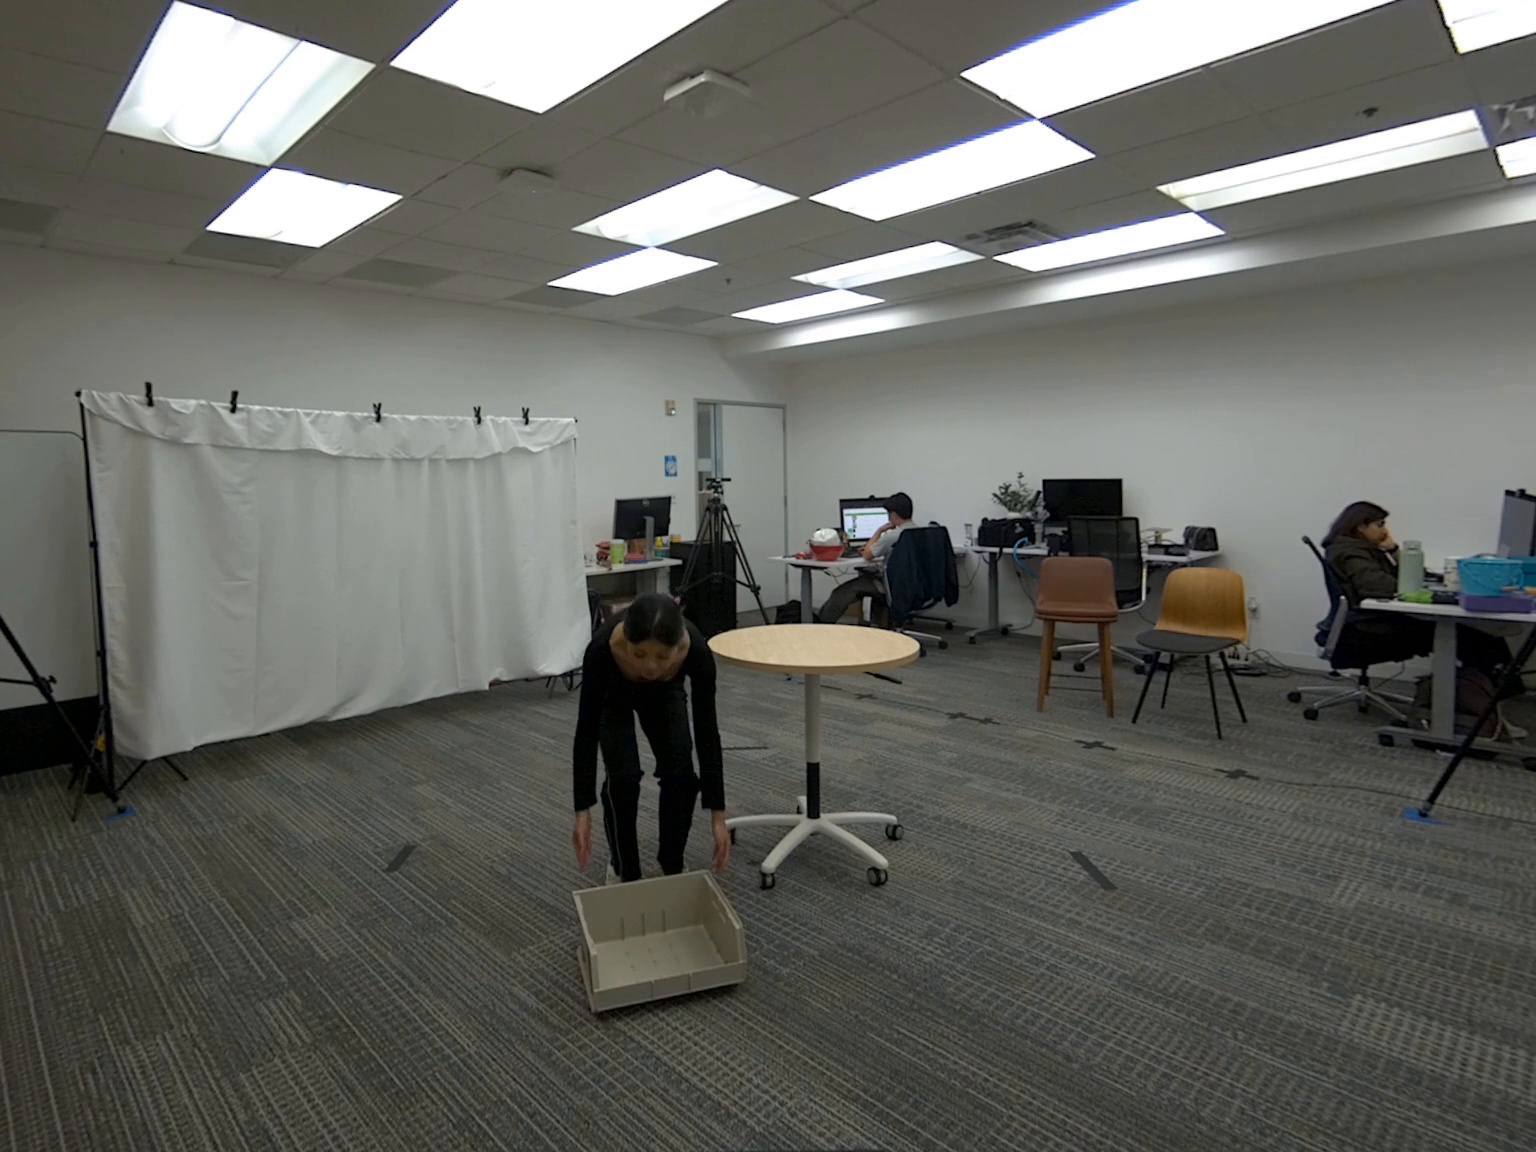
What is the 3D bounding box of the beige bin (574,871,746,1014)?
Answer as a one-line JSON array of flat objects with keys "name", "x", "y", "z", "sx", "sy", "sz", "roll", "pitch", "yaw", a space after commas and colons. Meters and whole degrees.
[{"name": "beige bin", "x": -0.319, "y": 1.031, "z": 2.431, "sx": 0.416, "sy": 0.188, "sz": 0.385, "roll": -3, "pitch": 5, "yaw": -18}]
